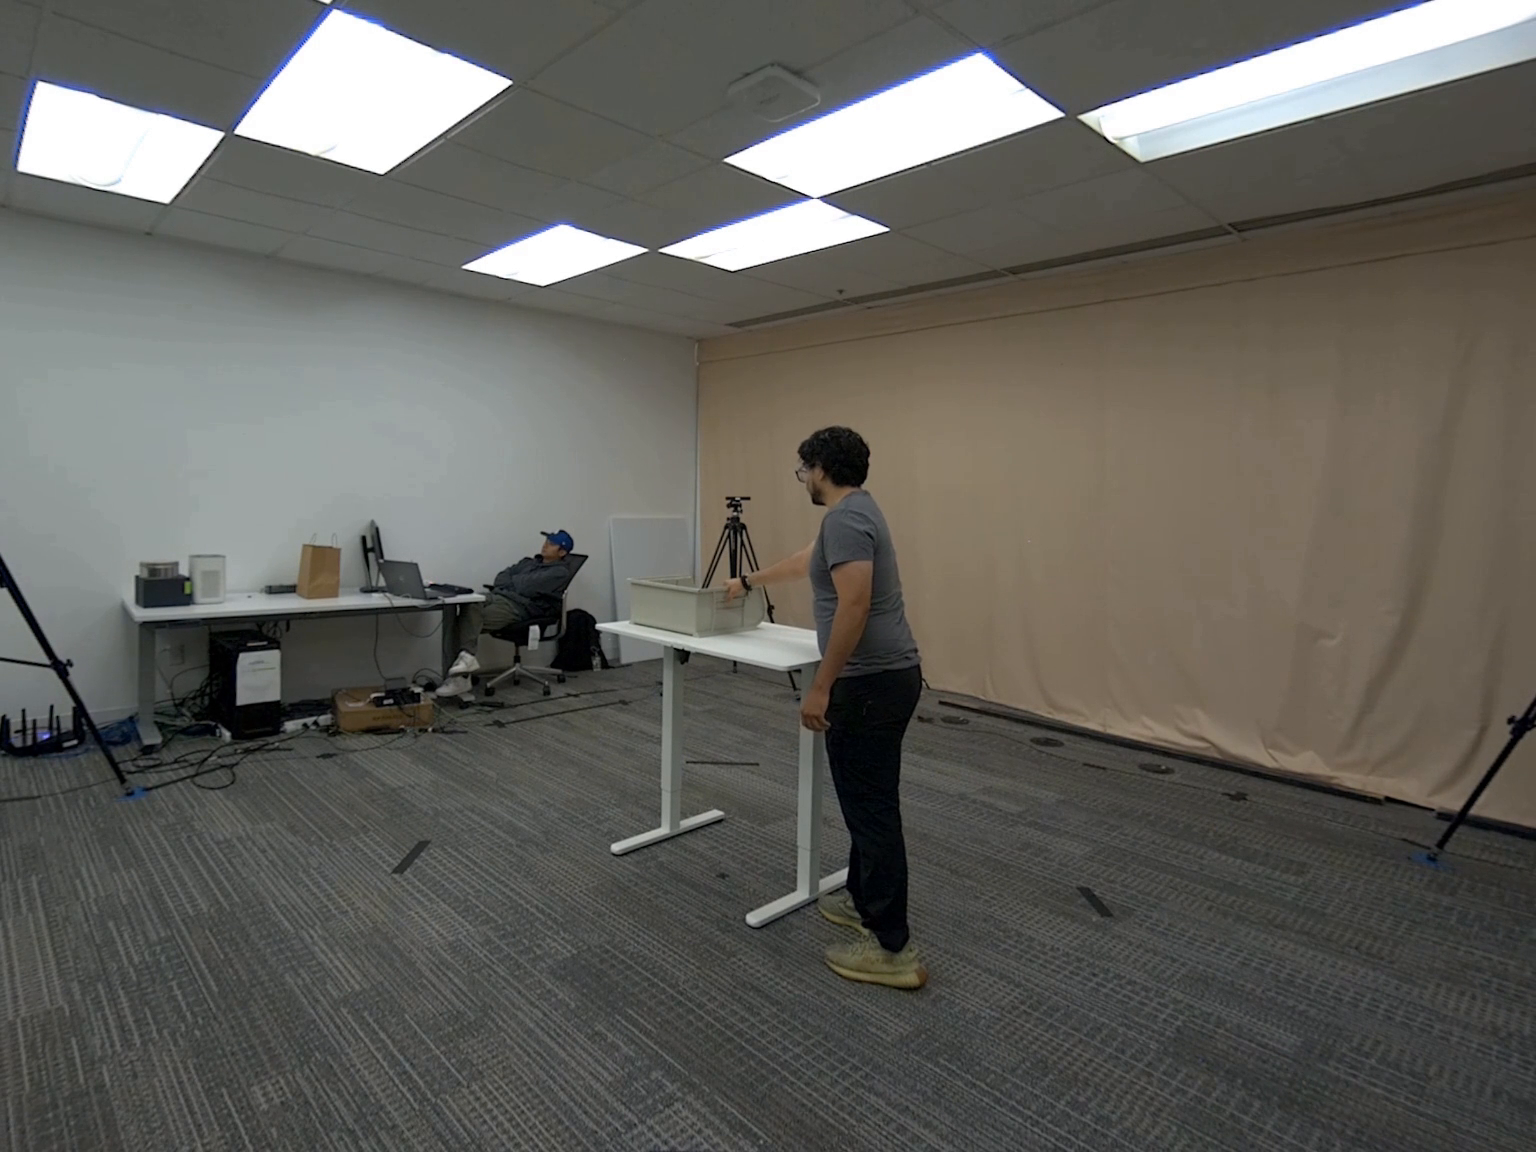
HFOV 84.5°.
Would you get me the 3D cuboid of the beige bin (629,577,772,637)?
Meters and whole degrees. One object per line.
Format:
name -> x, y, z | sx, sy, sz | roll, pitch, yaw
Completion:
beige bin -> -0.288, 0.111, 3.321 | 0.433, 0.188, 0.369 | 7, 9, 44
